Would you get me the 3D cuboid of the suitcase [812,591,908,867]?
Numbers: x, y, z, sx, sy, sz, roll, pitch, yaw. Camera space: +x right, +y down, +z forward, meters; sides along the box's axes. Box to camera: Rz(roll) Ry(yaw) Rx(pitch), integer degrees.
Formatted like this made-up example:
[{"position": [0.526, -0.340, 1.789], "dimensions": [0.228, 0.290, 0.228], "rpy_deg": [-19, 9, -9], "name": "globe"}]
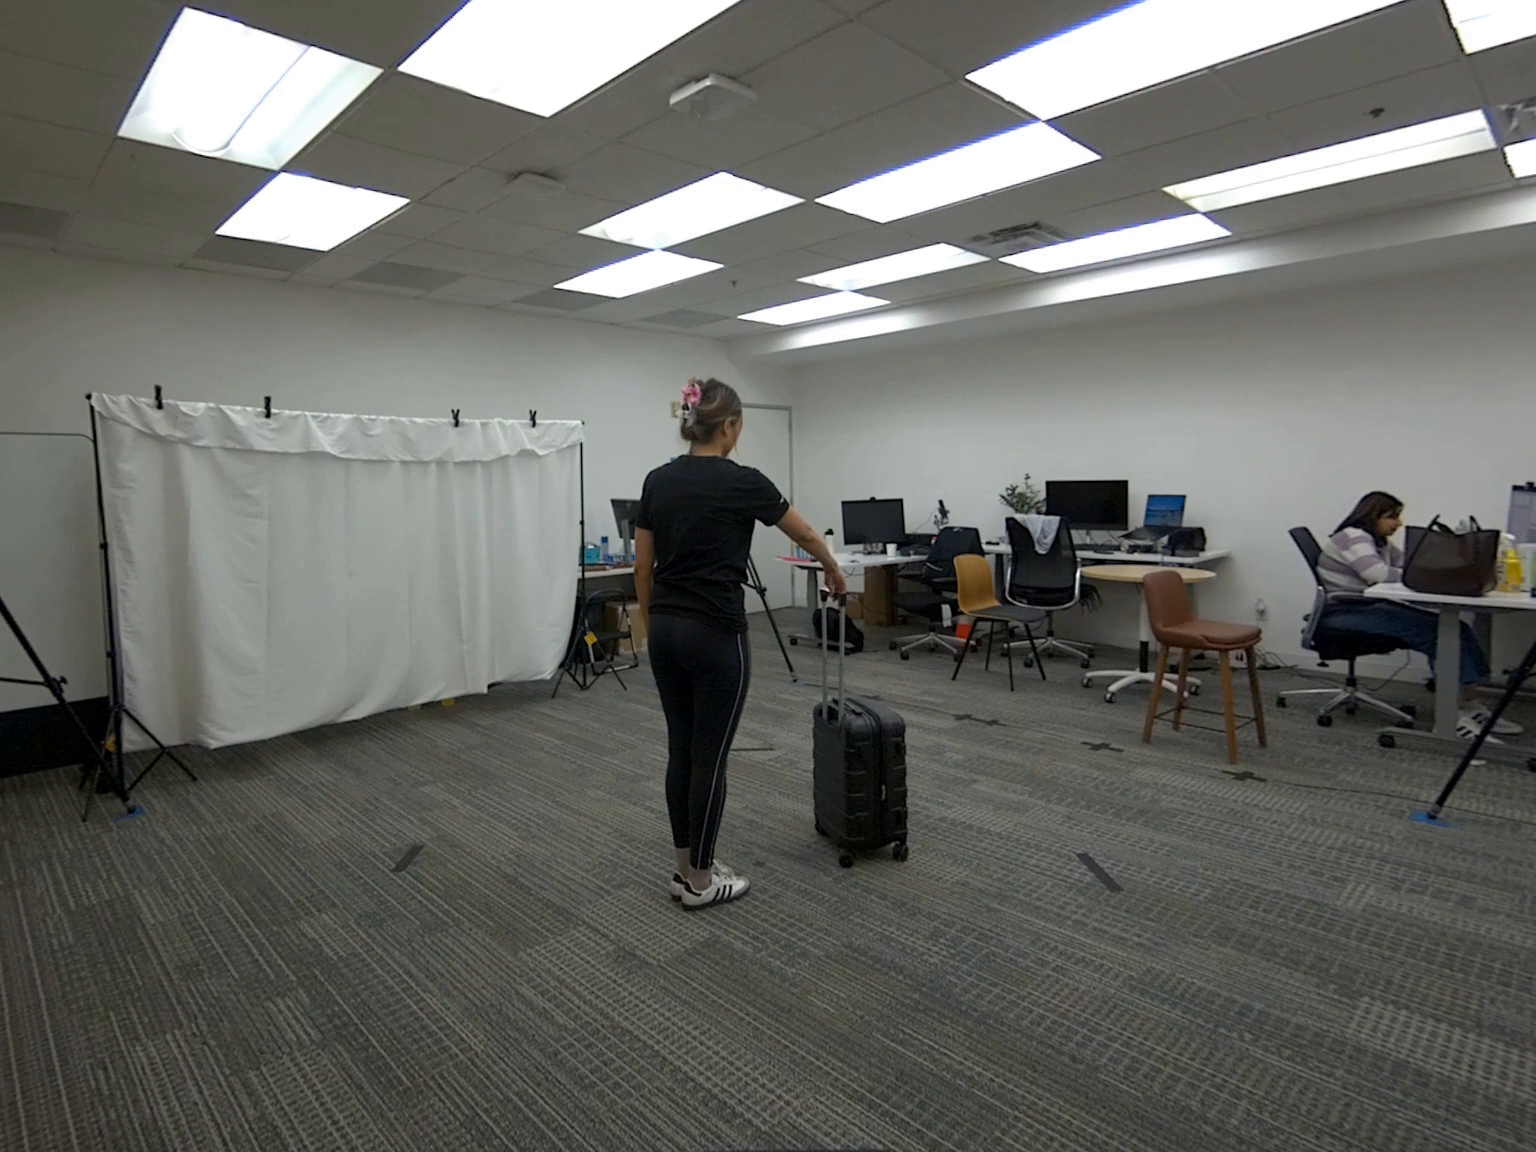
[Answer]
[{"position": [0.347, 0.553, 3.223], "dimensions": [0.253, 0.975, 0.391], "rpy_deg": [0, 4, -15], "name": "suitcase"}]
